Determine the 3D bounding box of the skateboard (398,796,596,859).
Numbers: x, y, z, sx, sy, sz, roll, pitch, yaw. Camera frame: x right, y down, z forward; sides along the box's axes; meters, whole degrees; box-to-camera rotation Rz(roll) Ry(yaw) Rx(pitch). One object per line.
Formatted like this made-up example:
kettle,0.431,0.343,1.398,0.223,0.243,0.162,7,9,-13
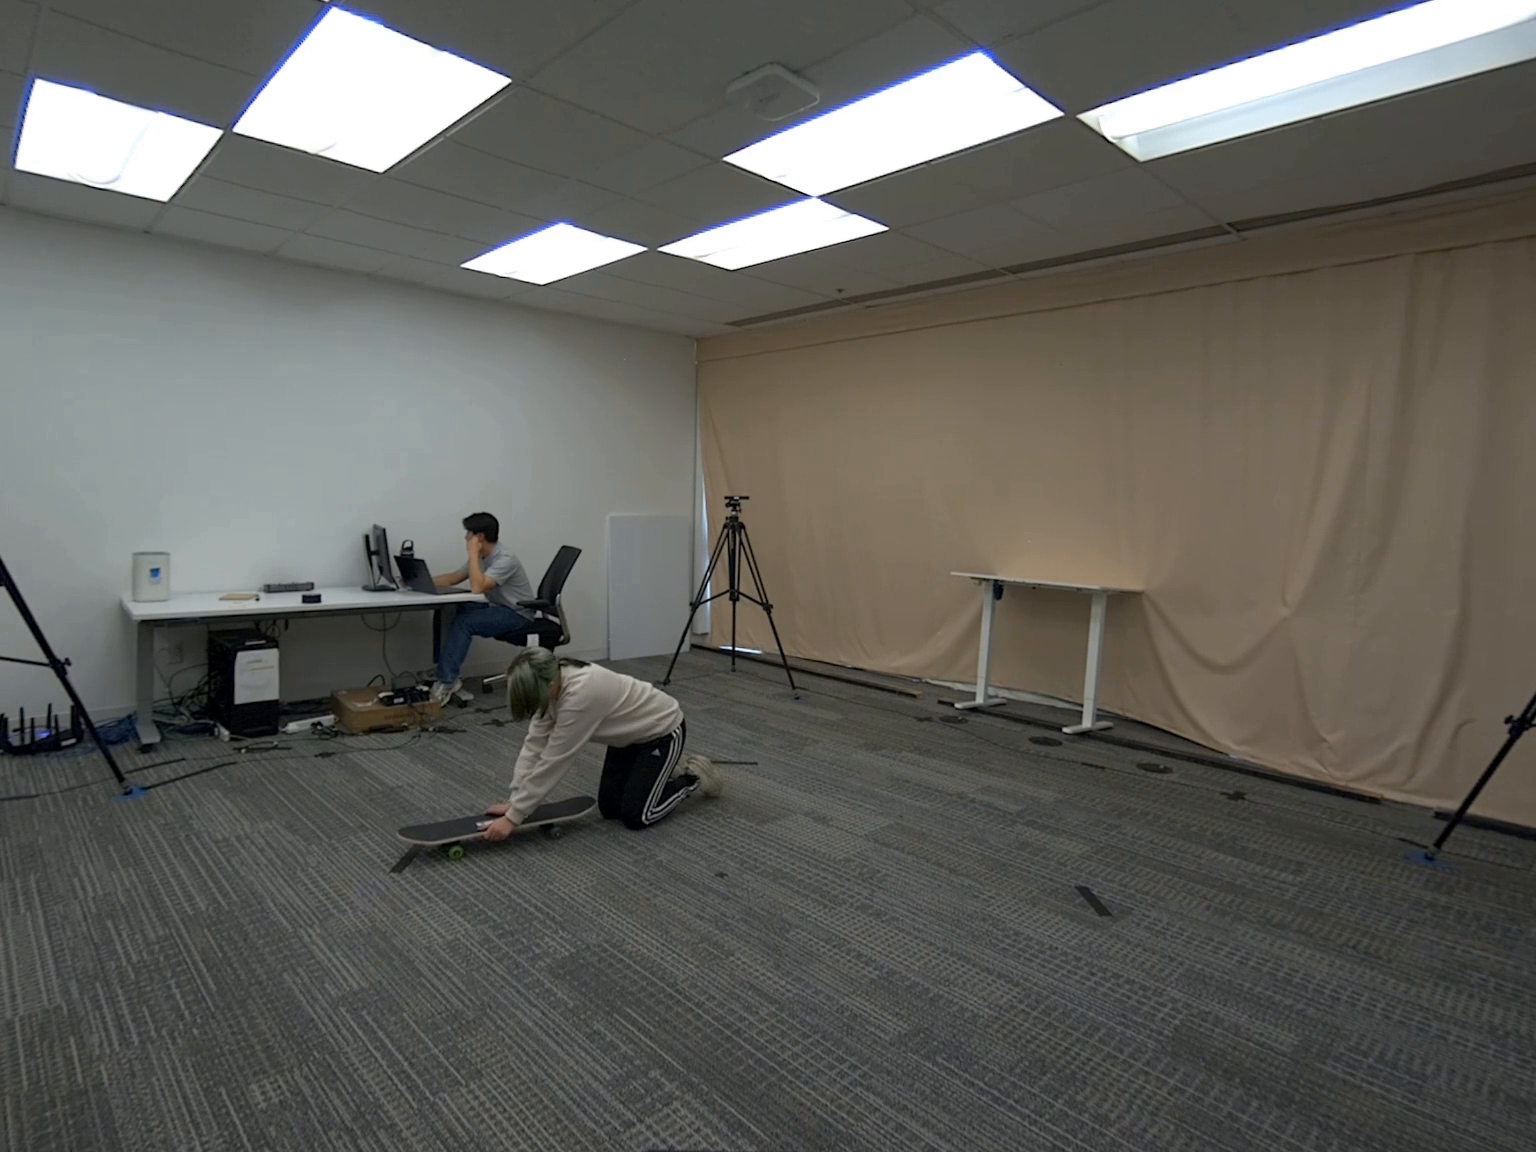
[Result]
skateboard,-1.064,1.006,3.360,0.769,0.110,0.198,-1,5,-33
